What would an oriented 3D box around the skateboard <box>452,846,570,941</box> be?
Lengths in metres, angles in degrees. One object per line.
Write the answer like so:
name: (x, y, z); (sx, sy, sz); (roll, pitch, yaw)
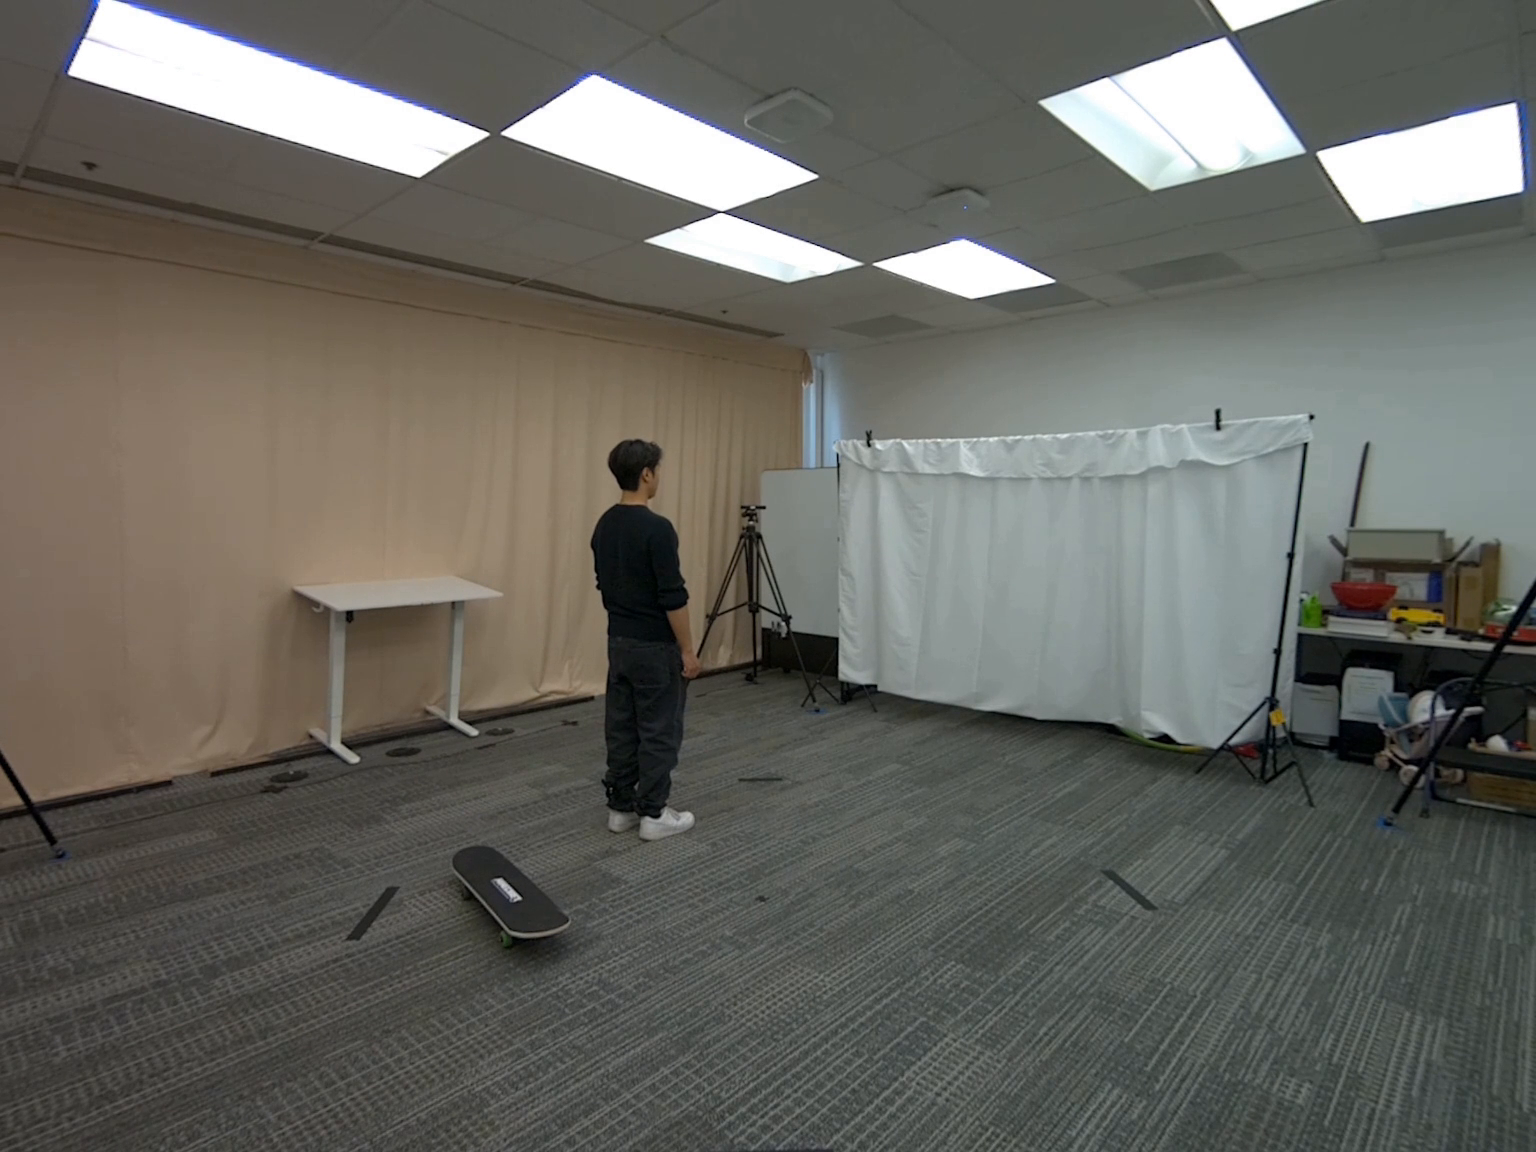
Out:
skateboard: (-0.888, 1.097, 2.880); (0.188, 0.110, 0.811); (-4, 5, -37)
